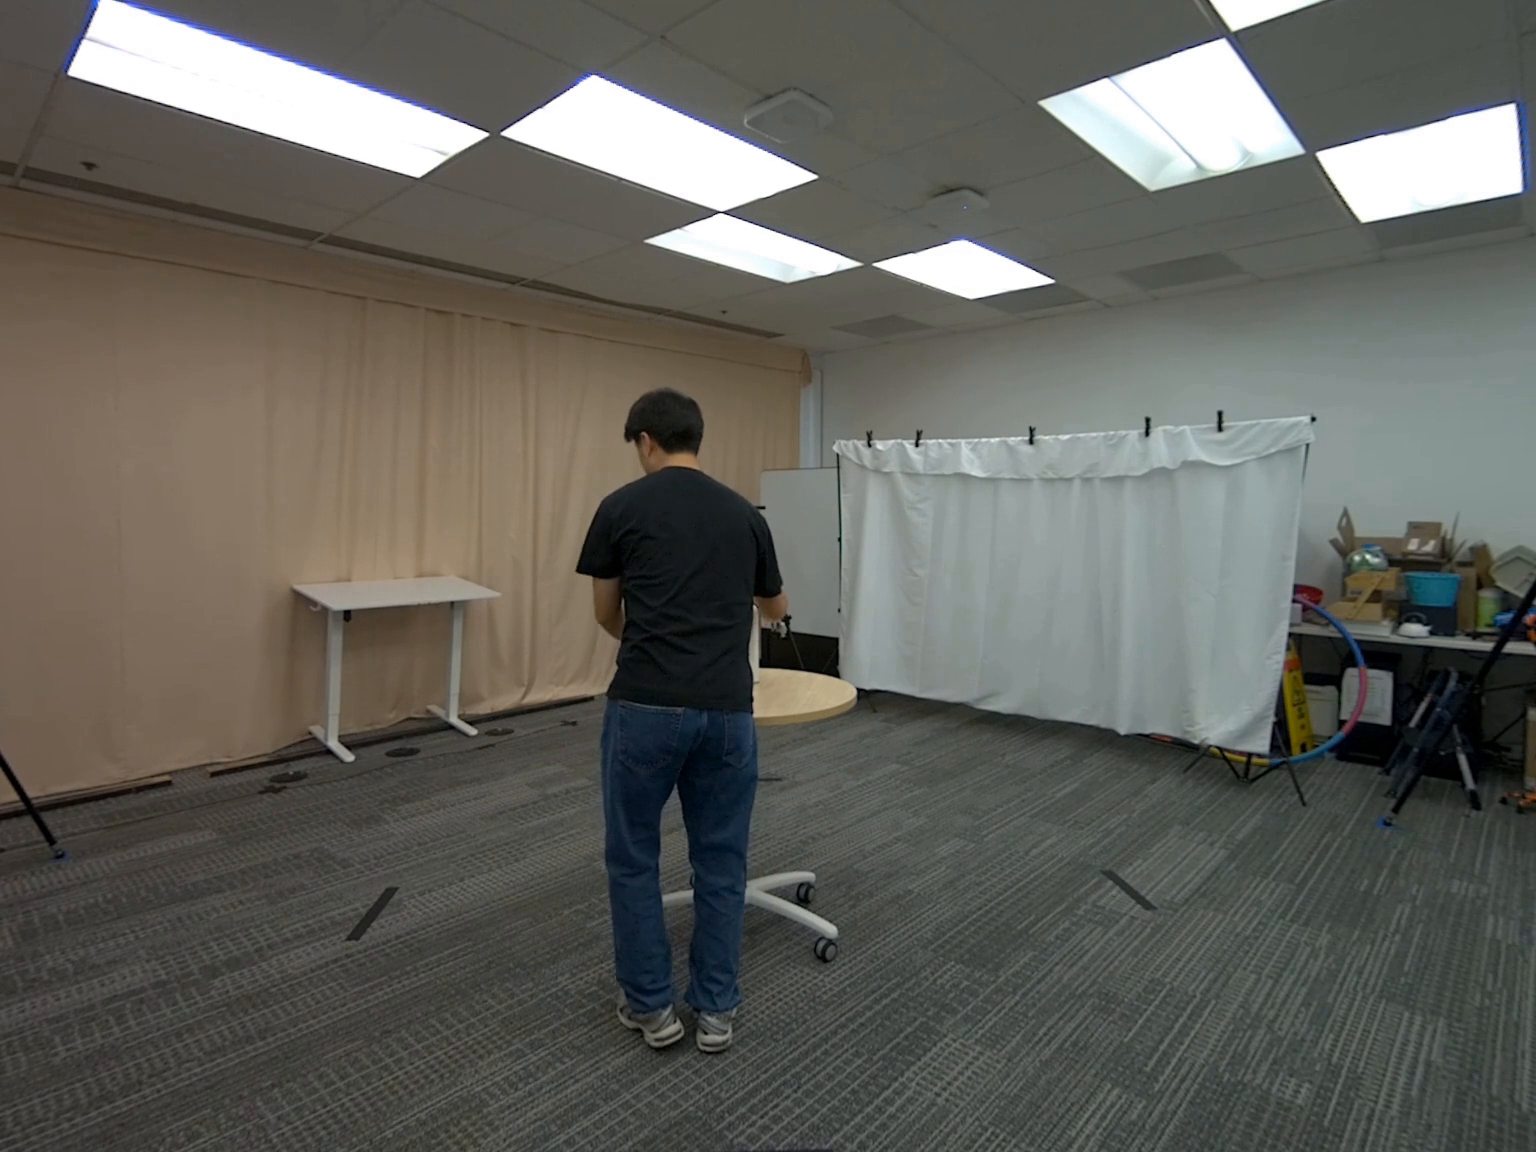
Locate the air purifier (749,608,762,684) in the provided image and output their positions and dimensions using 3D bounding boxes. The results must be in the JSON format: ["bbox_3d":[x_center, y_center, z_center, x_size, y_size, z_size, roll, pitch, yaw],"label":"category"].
[{"bbox_3d":[-0.119,0.226,2.875,0.168,0.265,0.174,0,2,-19],"label":"air purifier"}]
